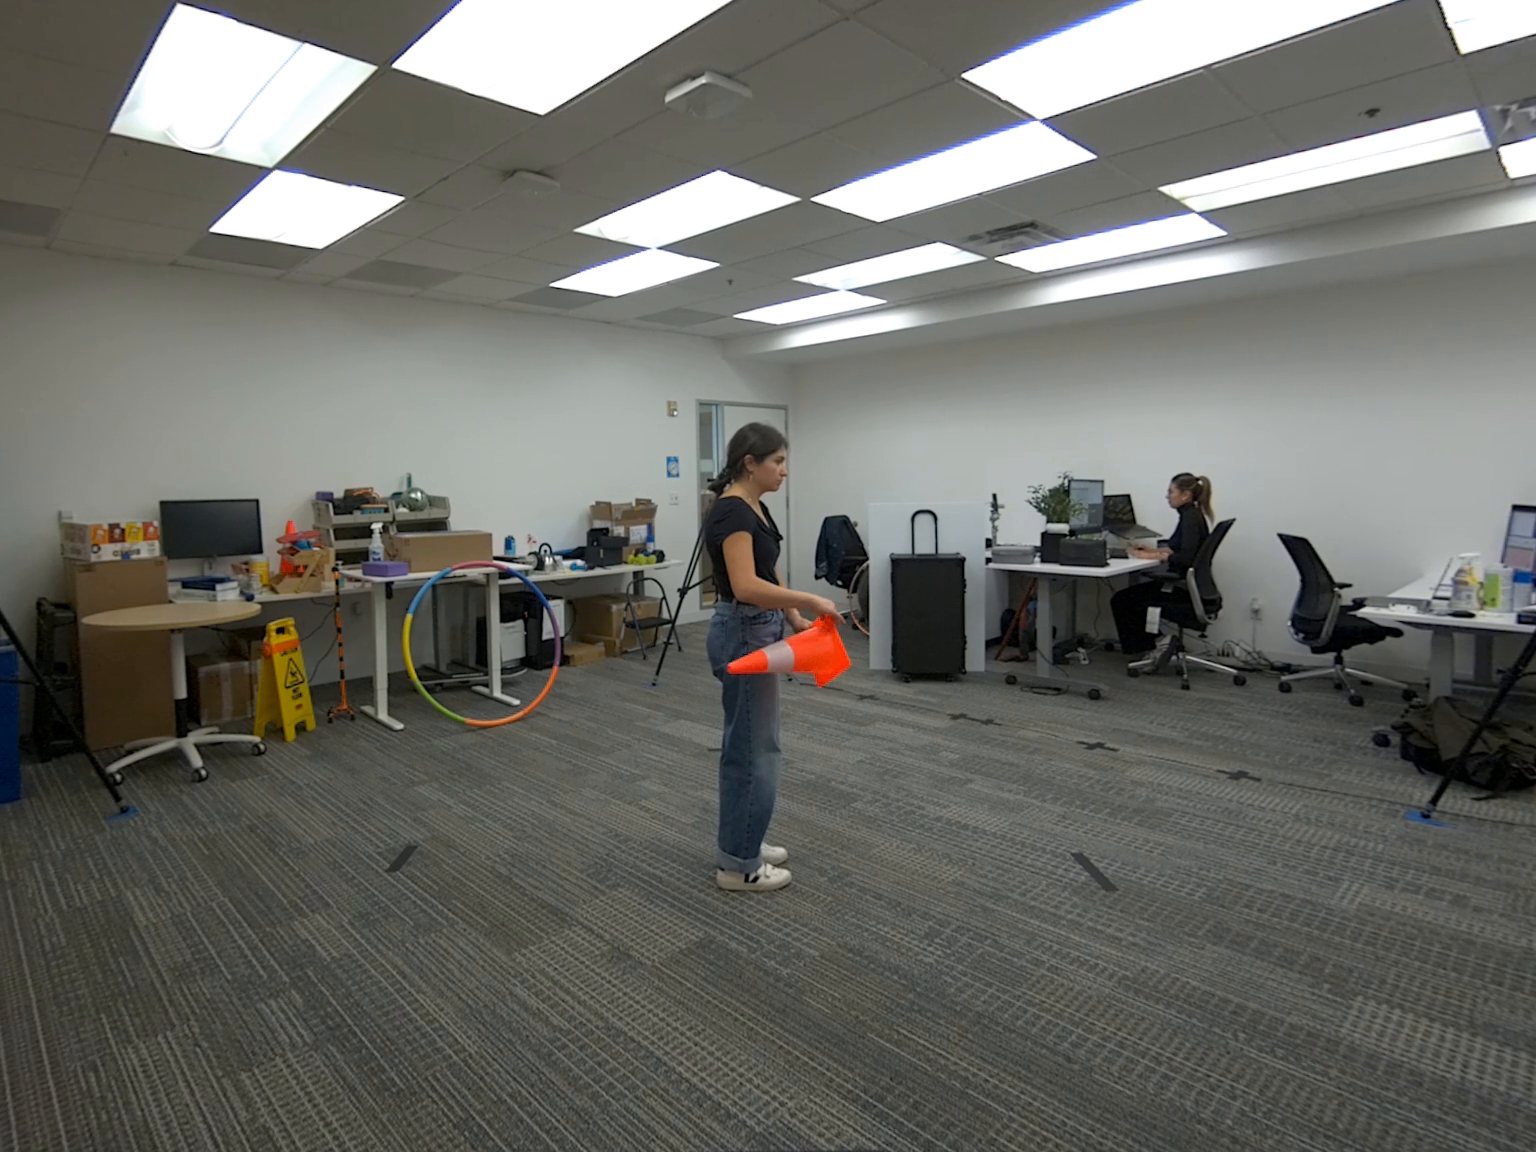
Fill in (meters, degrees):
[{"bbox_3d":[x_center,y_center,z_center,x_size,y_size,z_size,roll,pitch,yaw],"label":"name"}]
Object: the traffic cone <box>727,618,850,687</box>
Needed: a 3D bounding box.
[{"bbox_3d":[0.031,0.273,2.757,0.375,0.208,0.205,-5,-25,-31],"label":"traffic cone"}]
